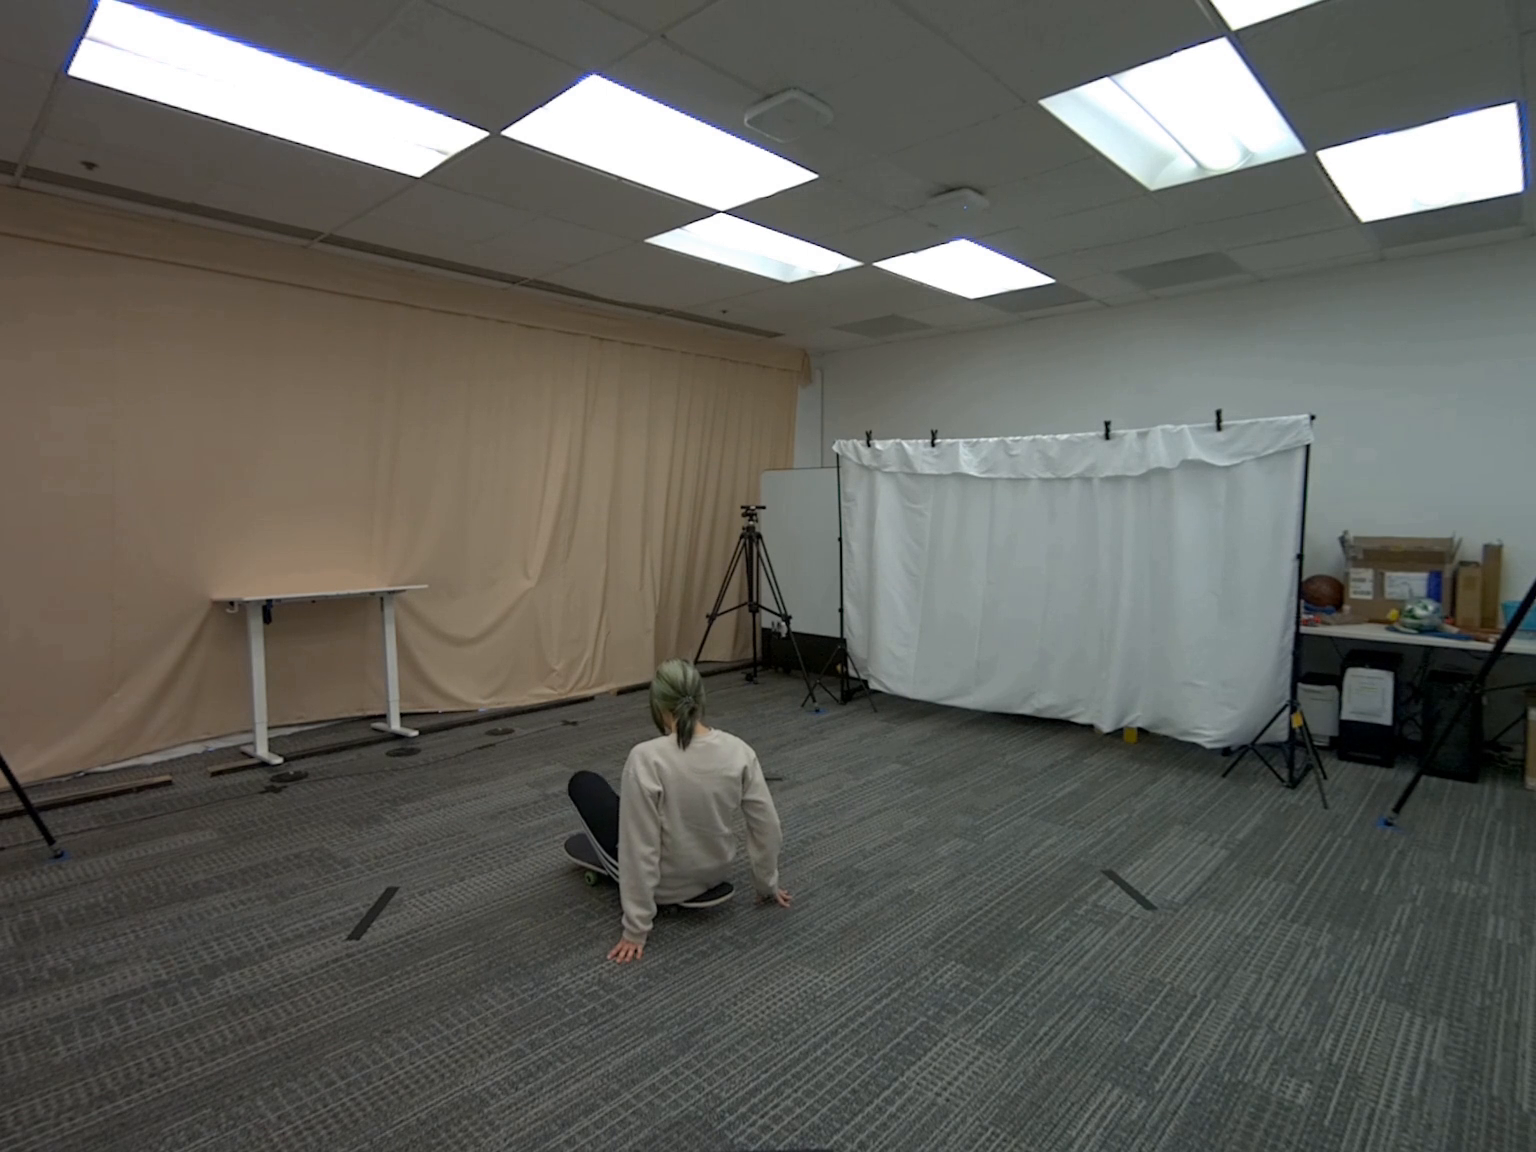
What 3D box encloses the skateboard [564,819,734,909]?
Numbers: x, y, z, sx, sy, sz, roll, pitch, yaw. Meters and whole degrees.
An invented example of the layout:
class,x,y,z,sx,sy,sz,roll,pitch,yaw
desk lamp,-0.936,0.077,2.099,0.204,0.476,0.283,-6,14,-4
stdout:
class,x,y,z,sx,sy,sz,roll,pitch,yaw
skateboard,-0.443,1.084,3.036,0.811,0.110,0.188,4,9,39
